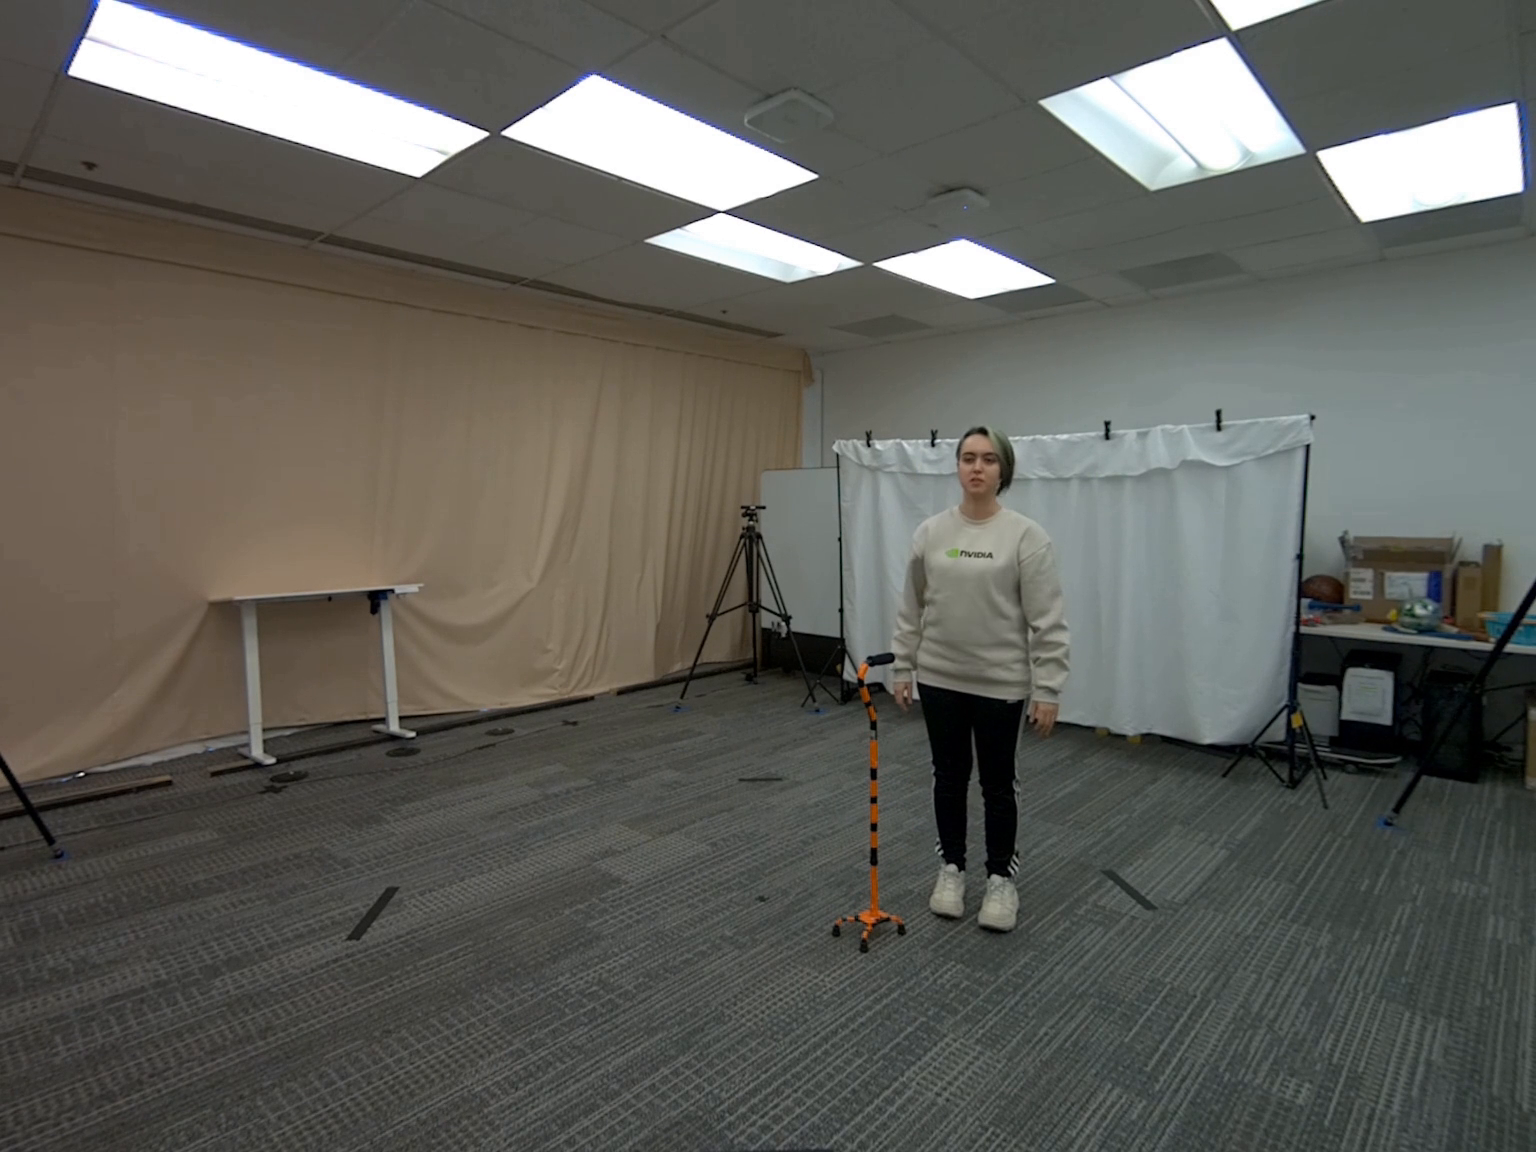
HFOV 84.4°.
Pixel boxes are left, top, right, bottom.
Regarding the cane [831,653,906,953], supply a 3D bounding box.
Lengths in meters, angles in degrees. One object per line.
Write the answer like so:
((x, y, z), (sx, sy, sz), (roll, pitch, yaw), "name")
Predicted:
((0.331, 0.713, 2.705), (0.200, 0.906, 0.156), (-4, 4, -37), "cane")
